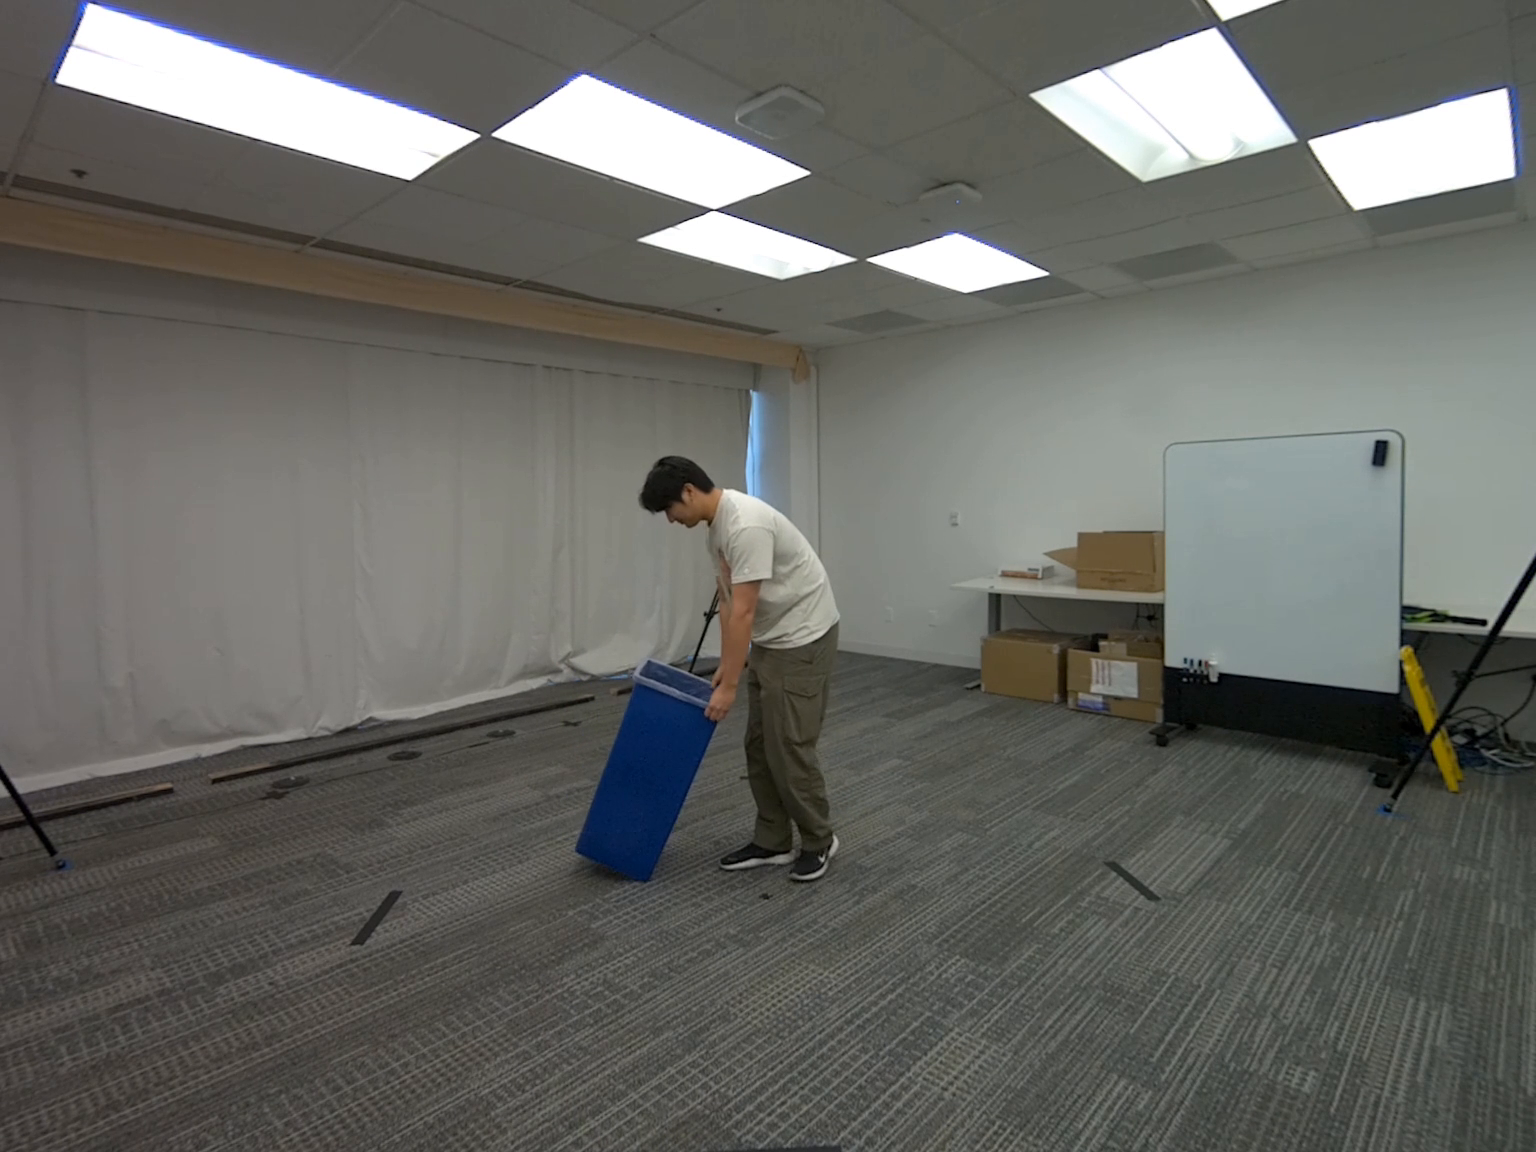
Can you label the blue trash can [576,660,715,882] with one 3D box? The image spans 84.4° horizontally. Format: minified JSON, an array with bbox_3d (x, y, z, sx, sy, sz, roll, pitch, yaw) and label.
[{"bbox_3d":[-0.457,0.739,3.244,0.374,0.713,0.378,23,3,-1],"label":"blue trash can"}]
